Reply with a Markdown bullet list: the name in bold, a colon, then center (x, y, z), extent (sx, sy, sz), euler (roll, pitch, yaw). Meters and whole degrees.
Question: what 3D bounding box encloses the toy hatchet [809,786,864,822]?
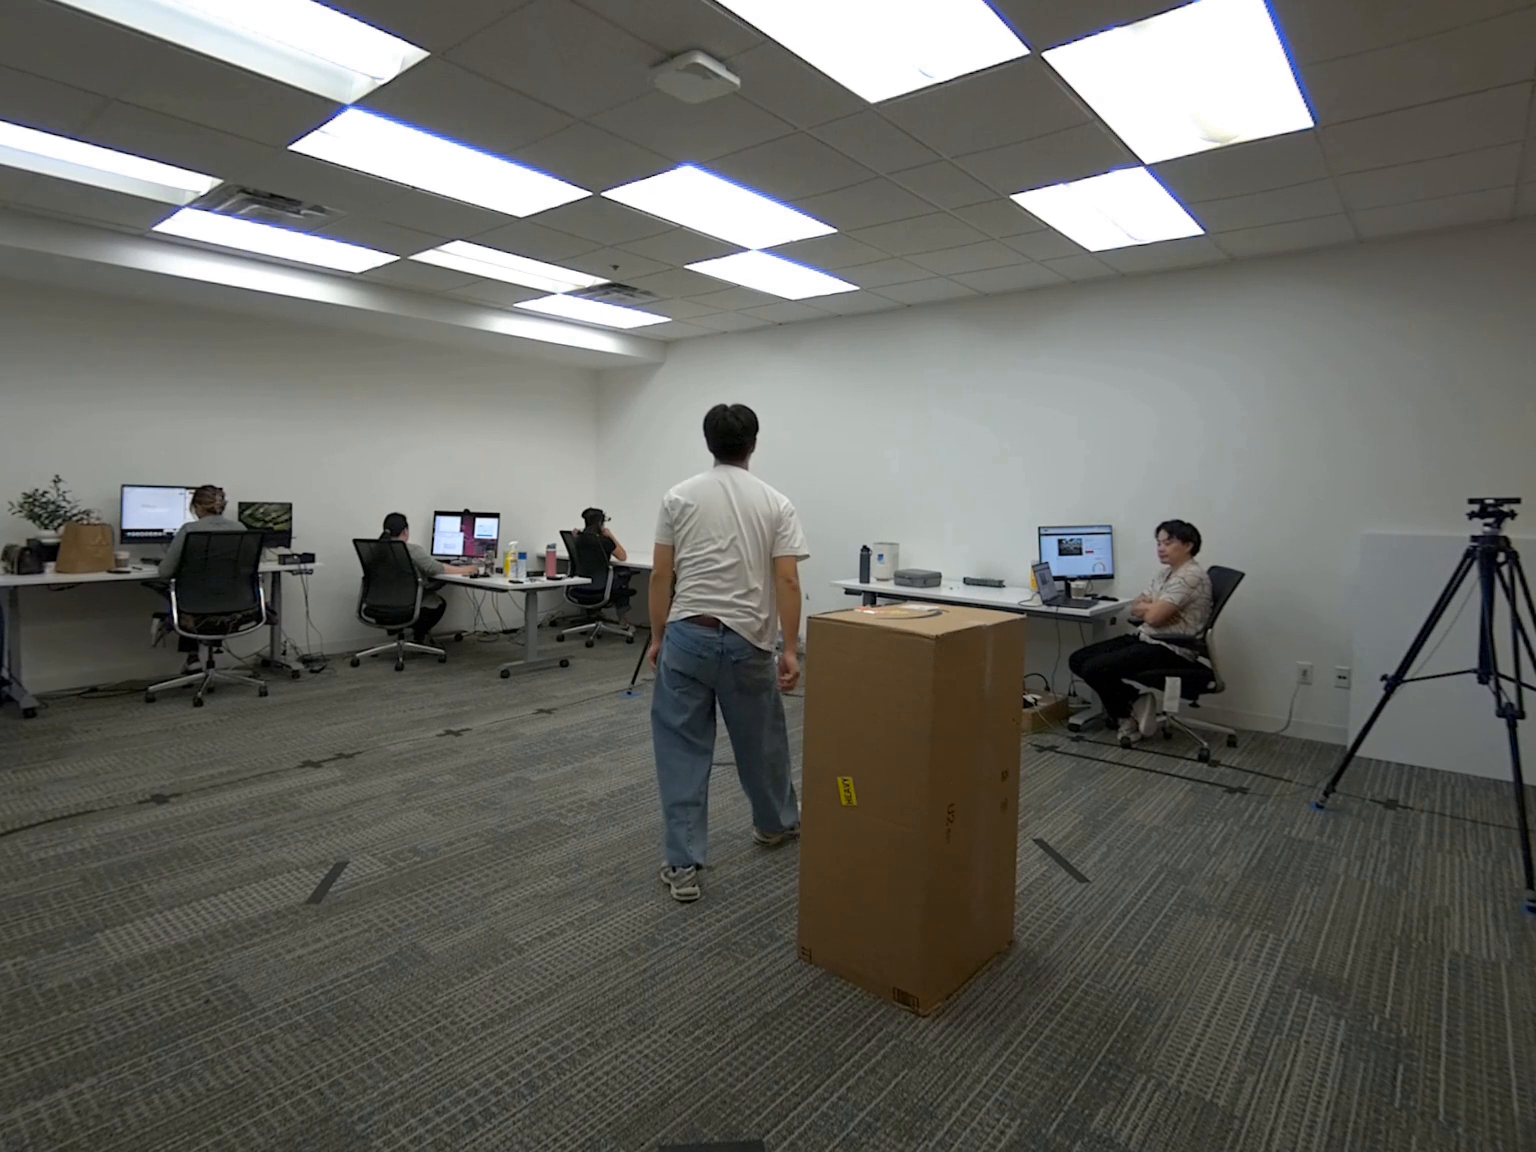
- **toy hatchet**: center (0.303, 0.997, 3.696), extent (0.135, 0.029, 0.263), euler (6, 10, 31)
